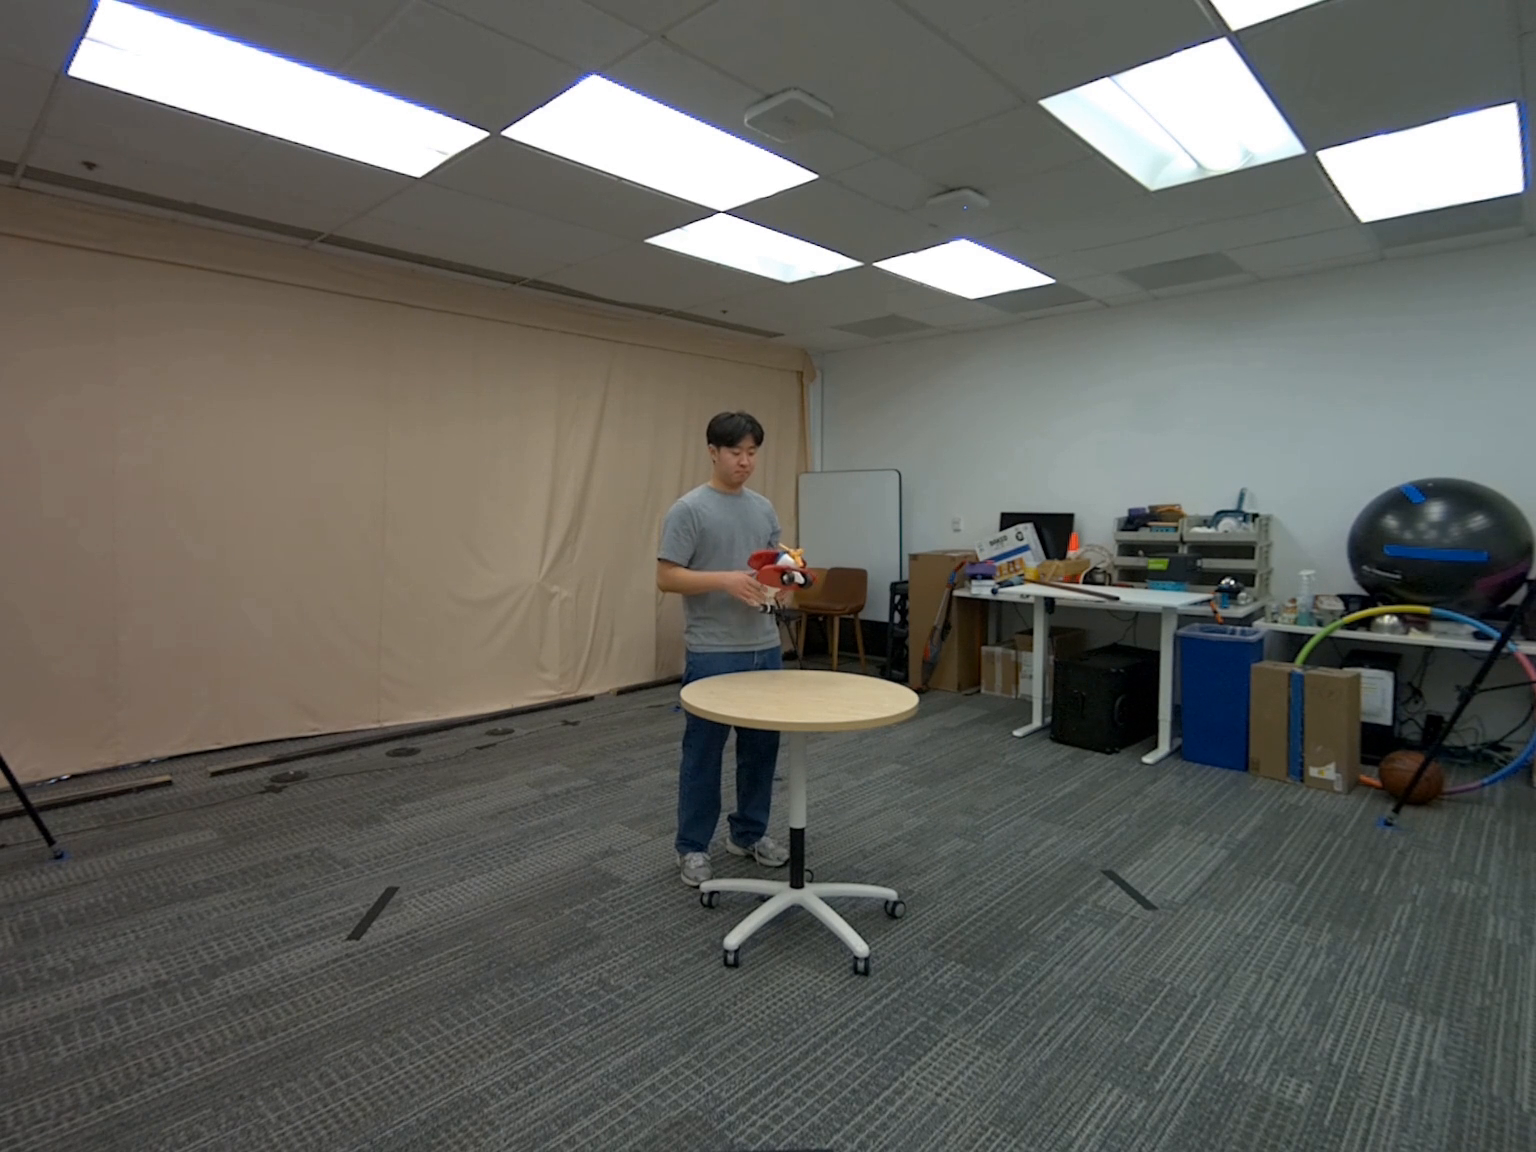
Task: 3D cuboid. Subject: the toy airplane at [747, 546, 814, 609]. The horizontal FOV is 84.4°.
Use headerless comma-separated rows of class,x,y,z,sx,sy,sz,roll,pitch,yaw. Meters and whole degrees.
toy airplane,0.023,0.022,2.963,0.262,0.160,0.242,-24,-32,16
